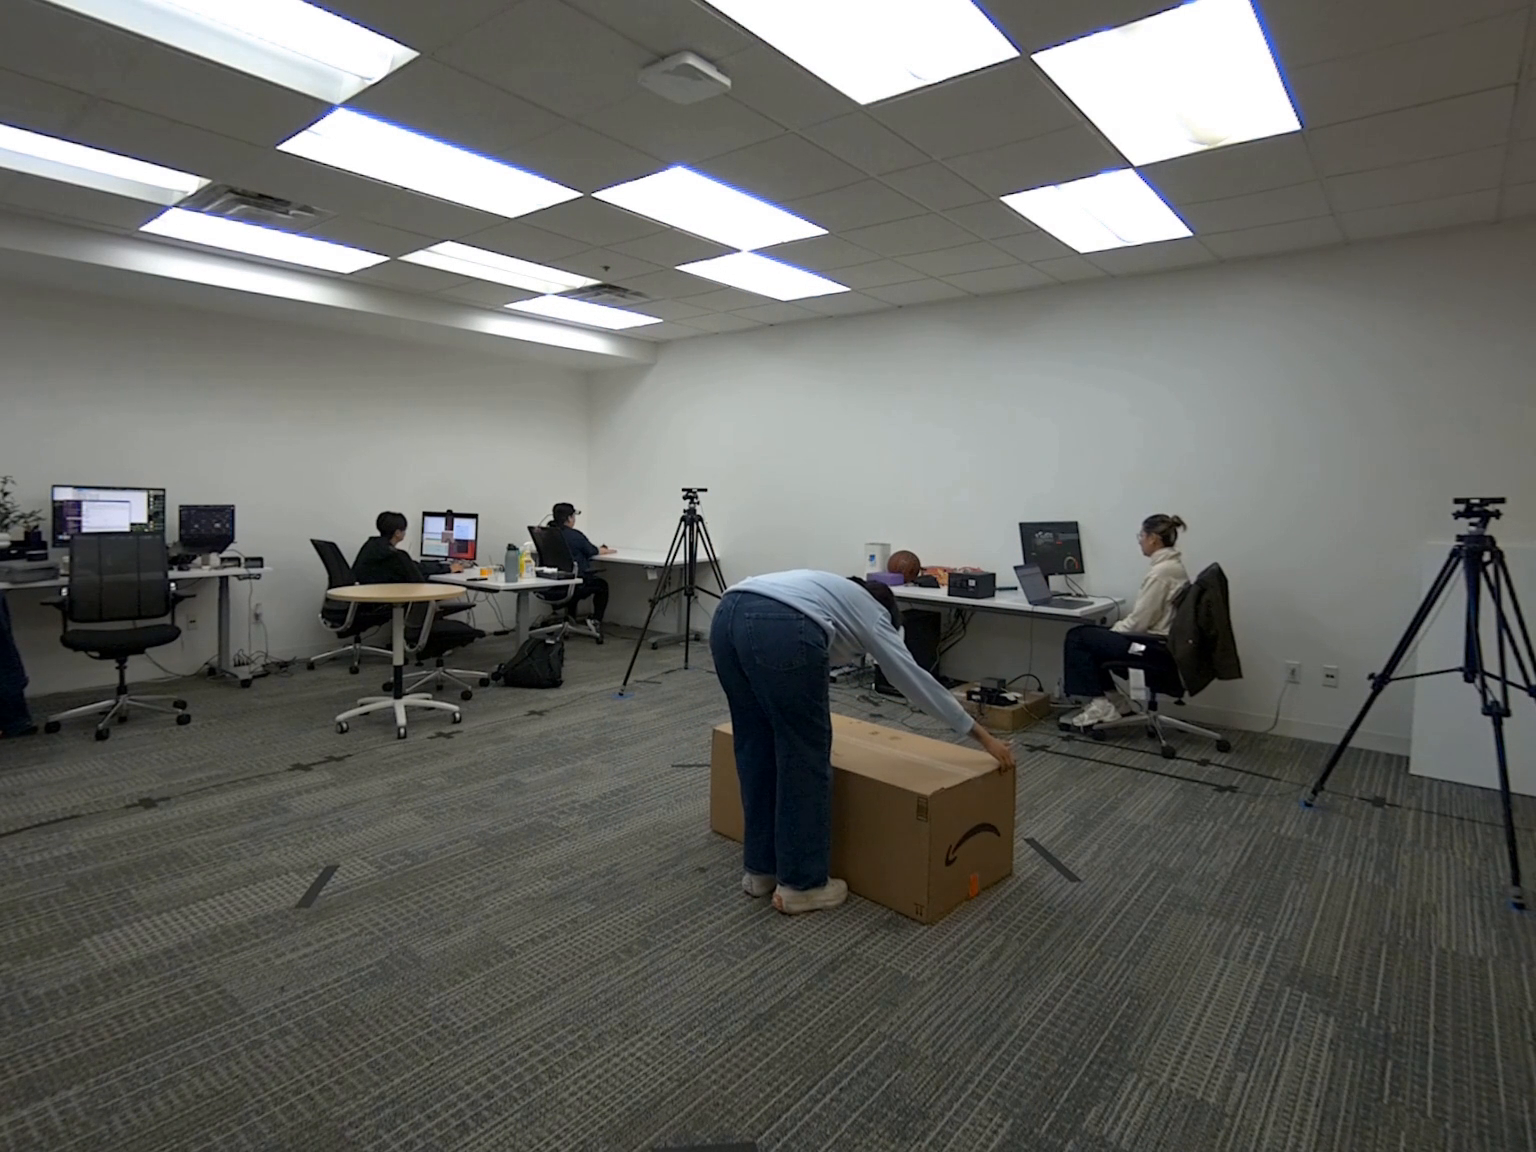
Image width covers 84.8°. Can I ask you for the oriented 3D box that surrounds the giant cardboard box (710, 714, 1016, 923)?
[{"bbox_3d":[0.330,0.849,3.288,1.061,0.425,0.560,6,7,44],"label":"giant cardboard box"}]
